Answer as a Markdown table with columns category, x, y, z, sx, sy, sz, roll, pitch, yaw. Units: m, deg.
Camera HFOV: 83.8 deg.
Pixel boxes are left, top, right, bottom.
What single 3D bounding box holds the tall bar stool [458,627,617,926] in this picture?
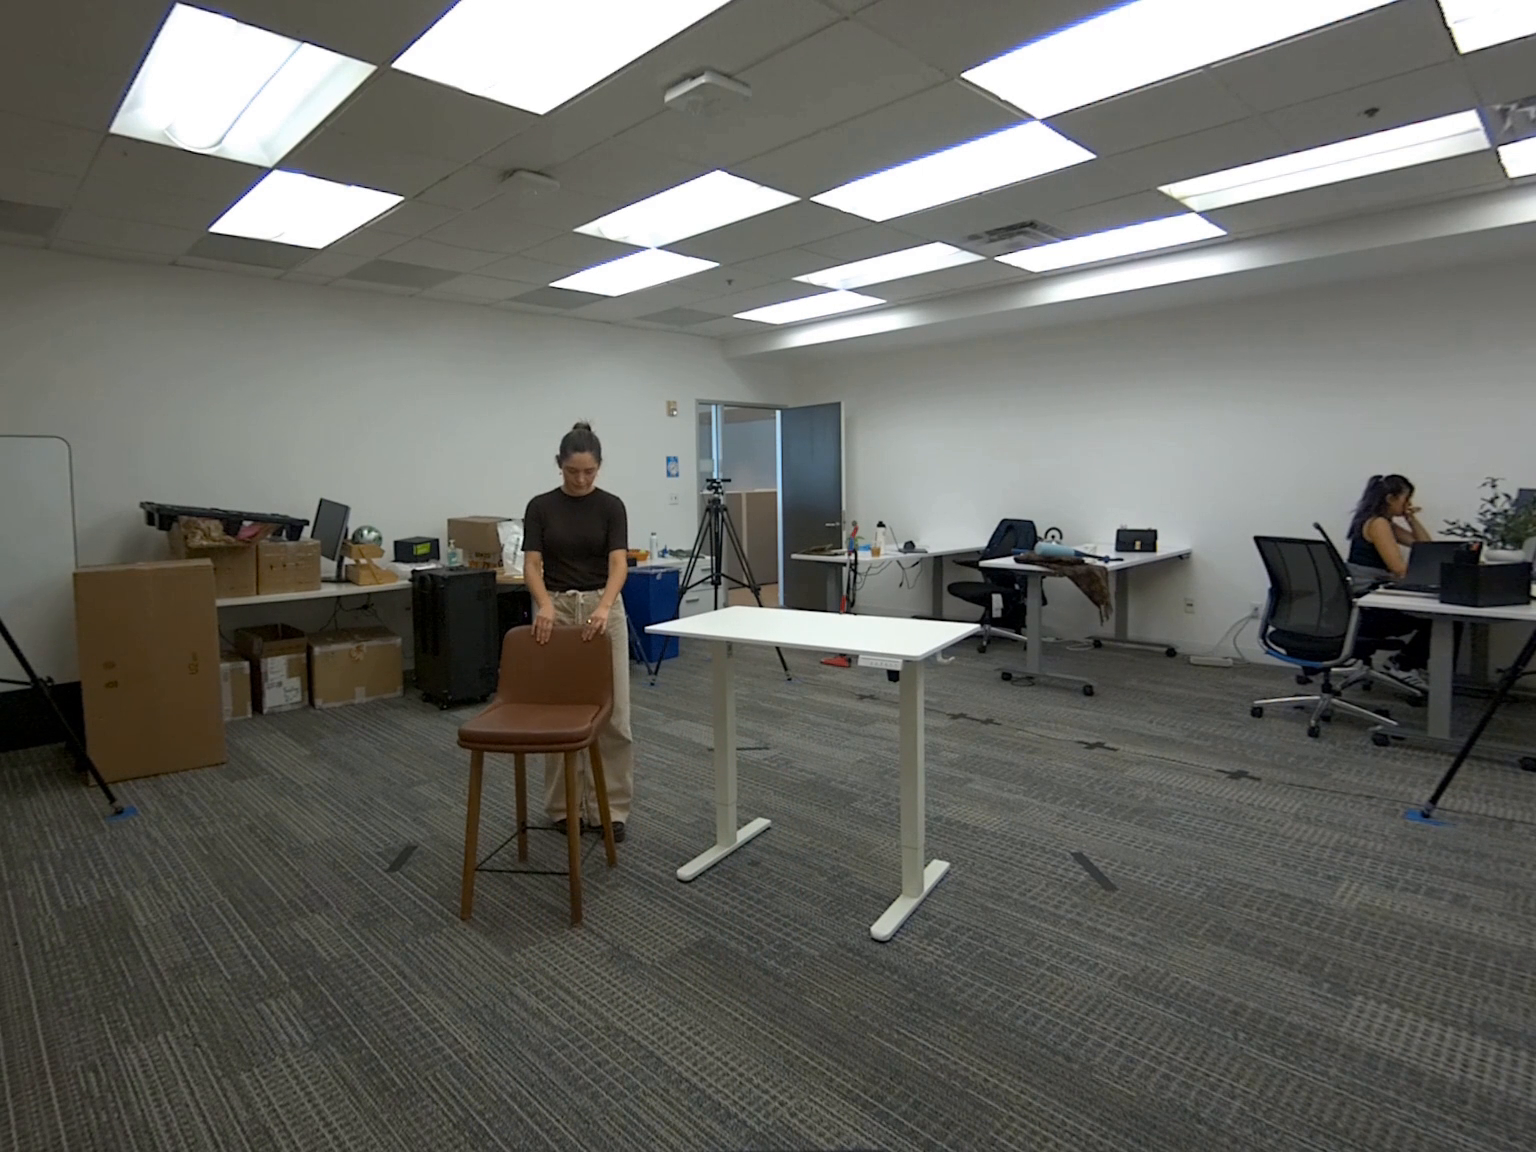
| category | x | y | z | sx | sy | sz | roll | pitch | yaw |
| --- | --- | --- | --- | --- | --- | --- | --- | --- | --- |
| tall bar stool | -0.767 | 0.641 | 2.926 | 0.460 | 0.889 | 0.464 | -1 | 1 | 7 |
